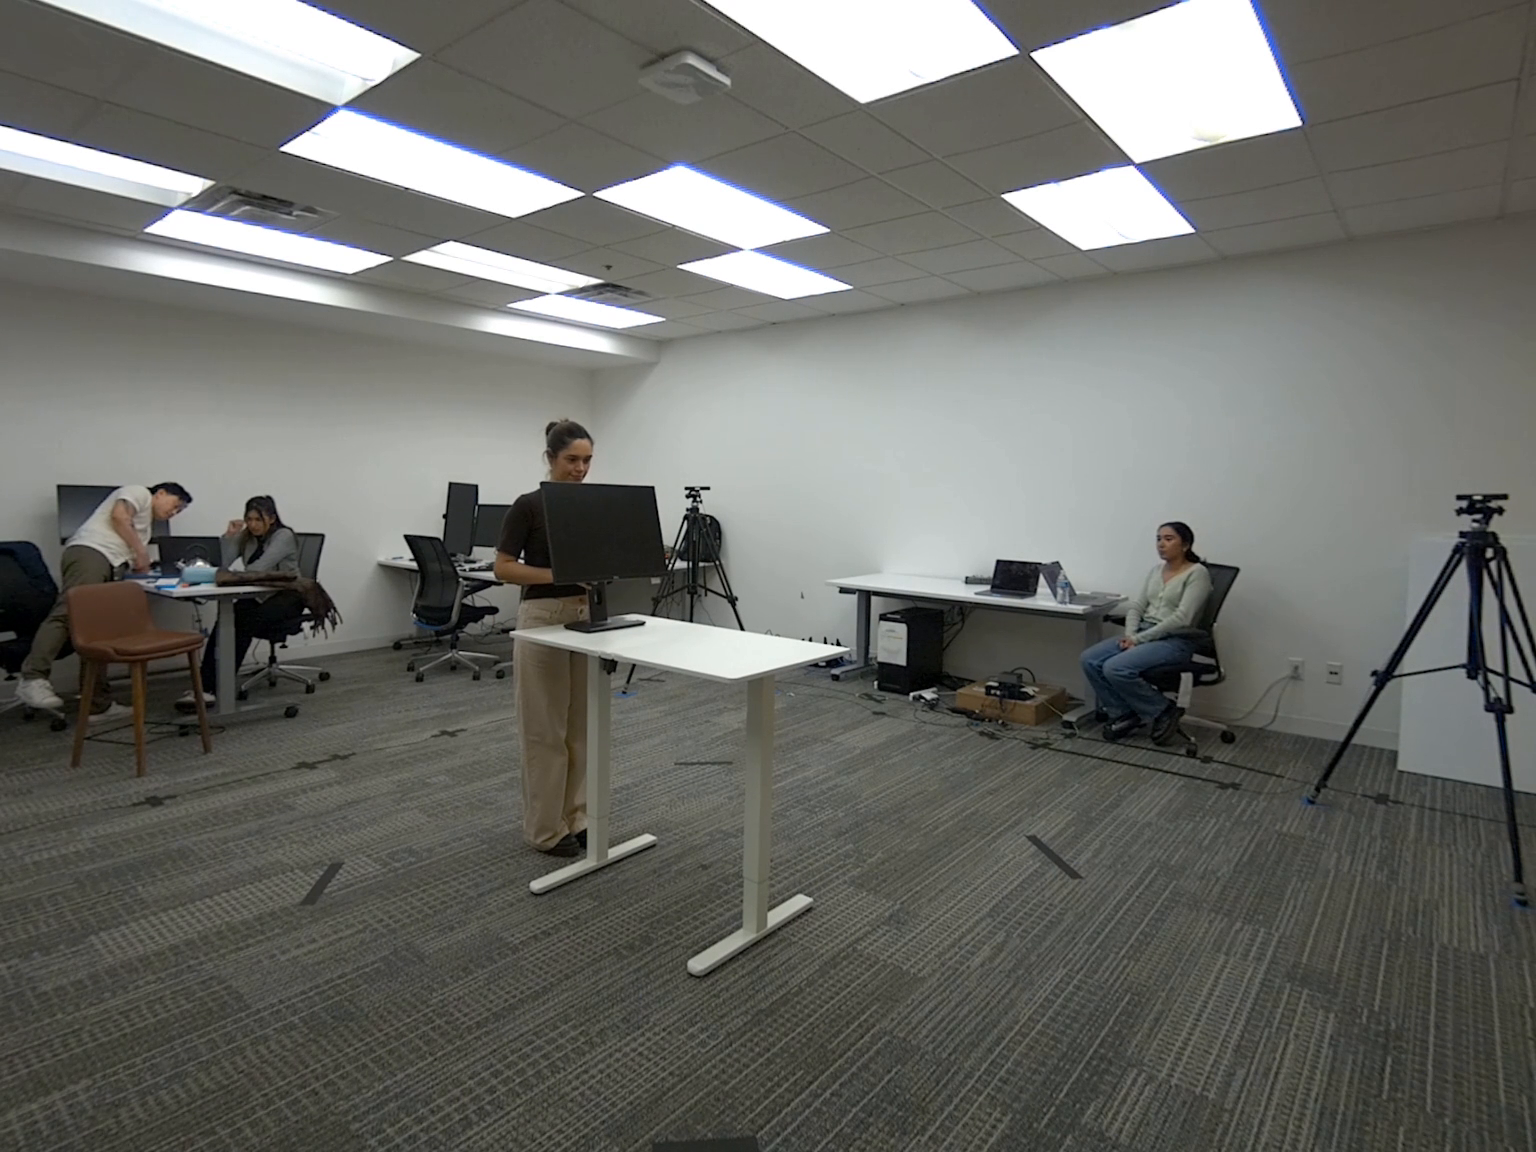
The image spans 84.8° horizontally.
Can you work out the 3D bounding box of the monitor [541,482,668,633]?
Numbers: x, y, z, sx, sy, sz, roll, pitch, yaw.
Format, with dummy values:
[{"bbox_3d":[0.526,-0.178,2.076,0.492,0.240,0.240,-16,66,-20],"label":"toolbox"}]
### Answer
[{"bbox_3d":[-0.608,-0.076,3.053,0.180,0.515,0.514,6,4,37],"label":"monitor"}]
